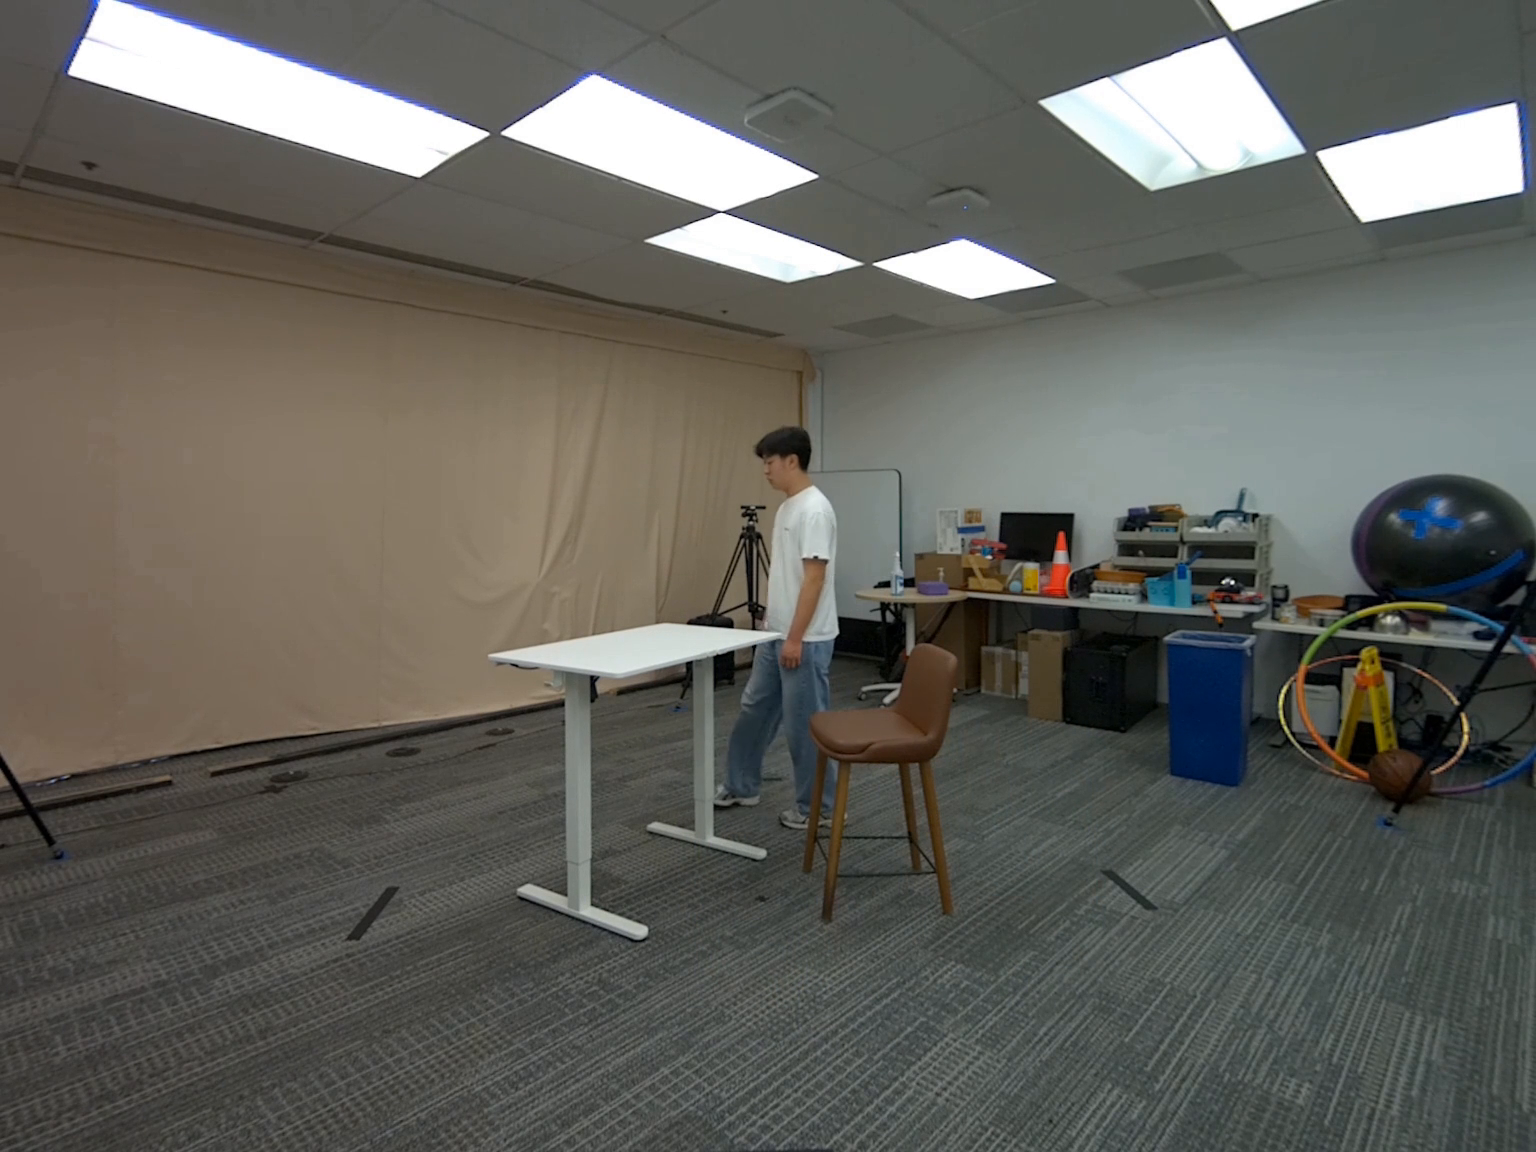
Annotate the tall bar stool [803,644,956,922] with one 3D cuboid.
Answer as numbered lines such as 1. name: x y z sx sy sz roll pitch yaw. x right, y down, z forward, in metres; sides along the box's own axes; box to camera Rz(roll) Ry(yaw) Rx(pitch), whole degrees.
1. tall bar stool: 0.399 0.707 2.995 0.464 0.888 0.460 2 3 -7
